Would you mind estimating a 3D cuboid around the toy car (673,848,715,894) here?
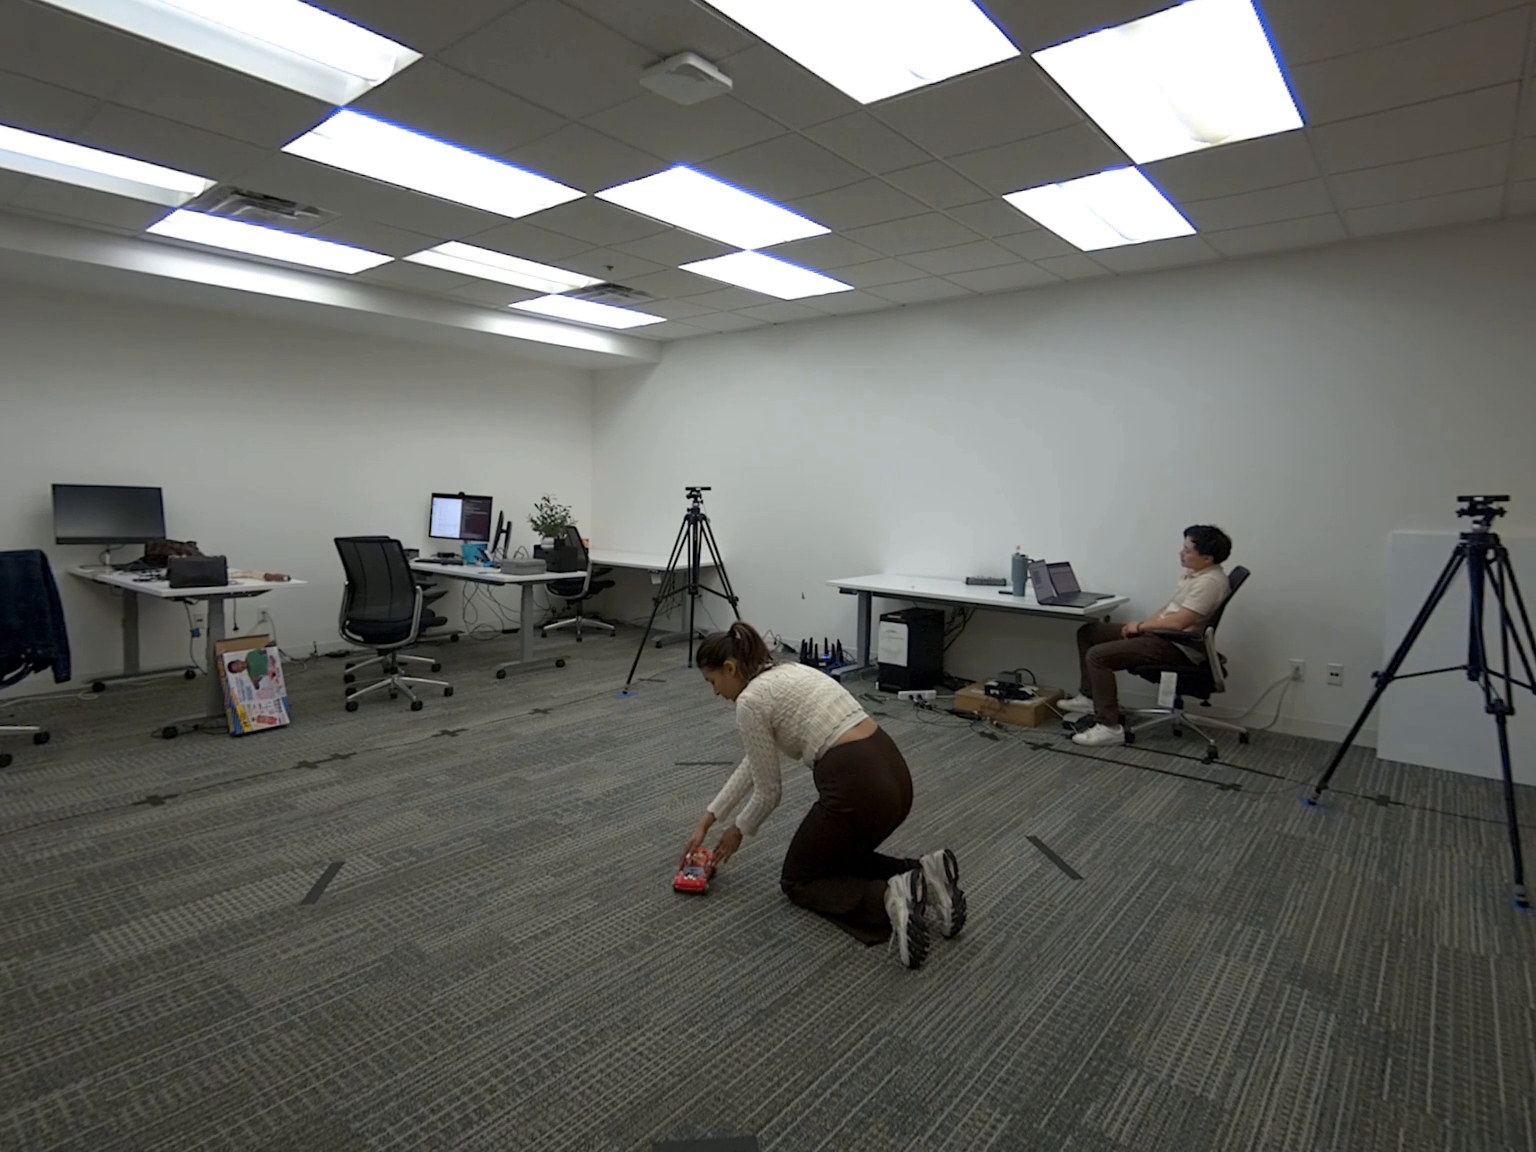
[{"bbox_3d":[-0.260,1.043,3.017,0.131,0.082,0.256,2,17,7],"label":"toy car"}]
